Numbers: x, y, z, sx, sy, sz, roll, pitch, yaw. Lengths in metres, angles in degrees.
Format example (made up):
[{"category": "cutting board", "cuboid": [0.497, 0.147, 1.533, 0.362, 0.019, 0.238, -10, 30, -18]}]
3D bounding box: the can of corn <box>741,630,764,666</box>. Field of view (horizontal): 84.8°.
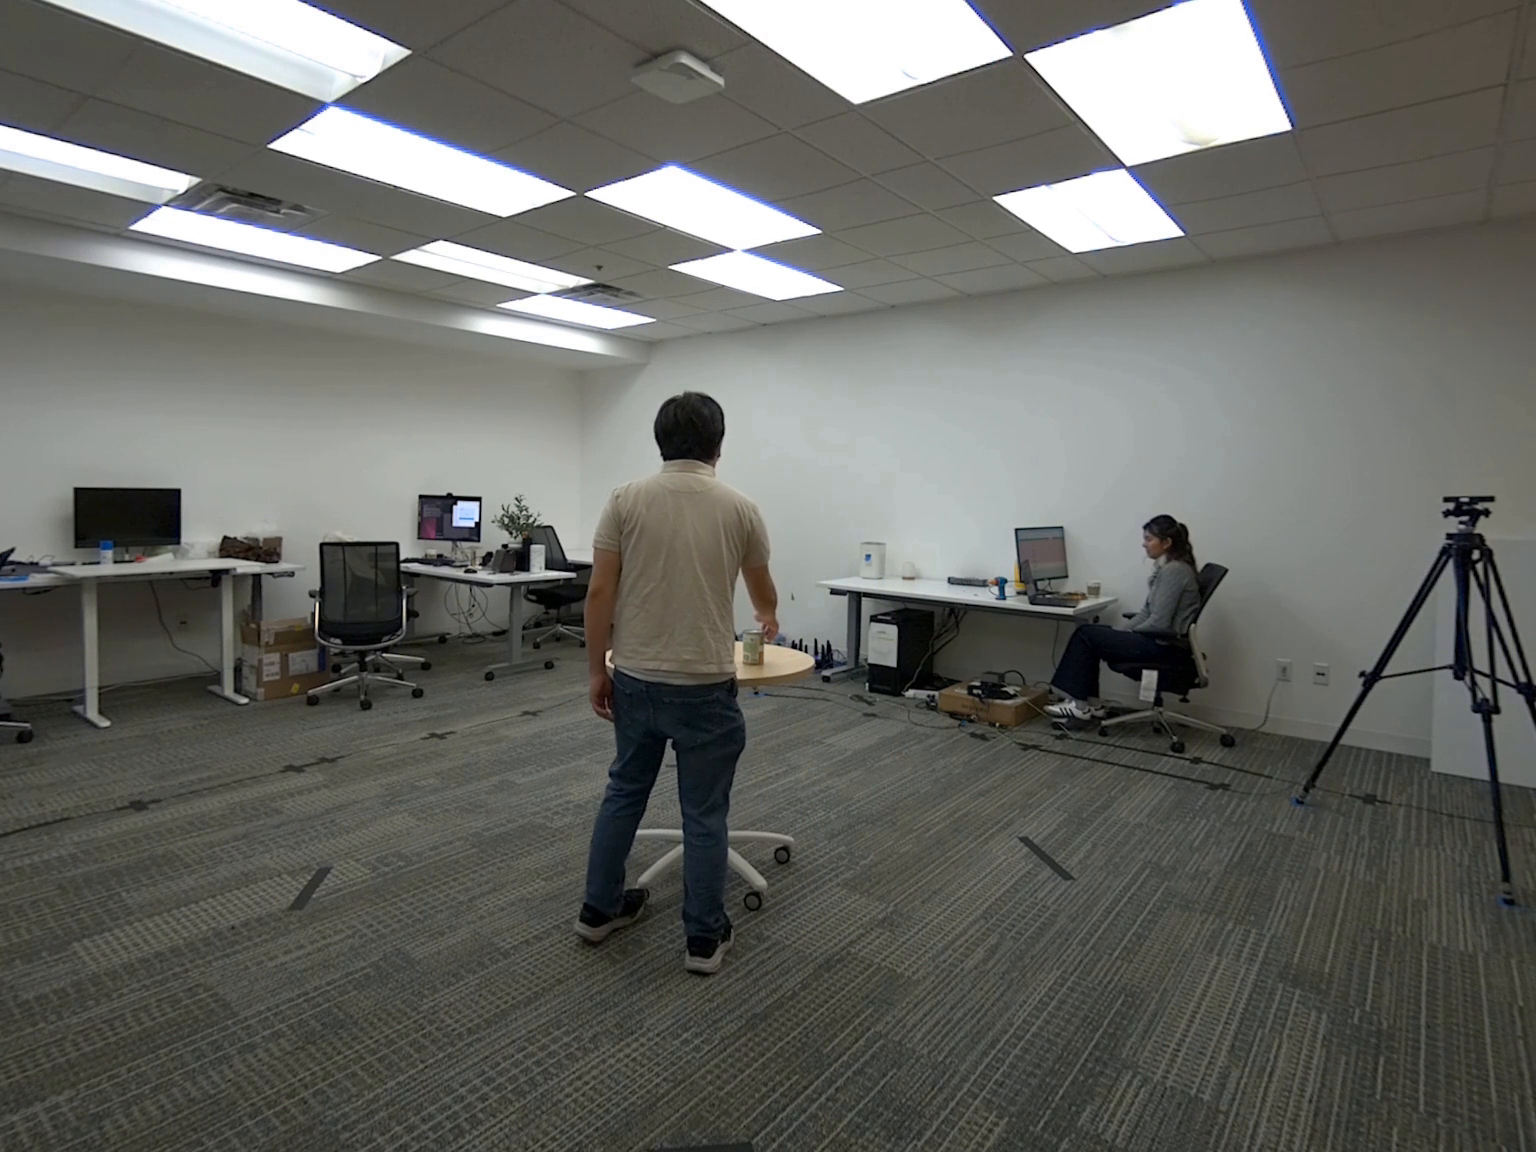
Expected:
[{"category": "can of corn", "cuboid": [-0.057, 0.245, 2.957, 0.074, 0.111, 0.074, 3, 3, -2]}]
